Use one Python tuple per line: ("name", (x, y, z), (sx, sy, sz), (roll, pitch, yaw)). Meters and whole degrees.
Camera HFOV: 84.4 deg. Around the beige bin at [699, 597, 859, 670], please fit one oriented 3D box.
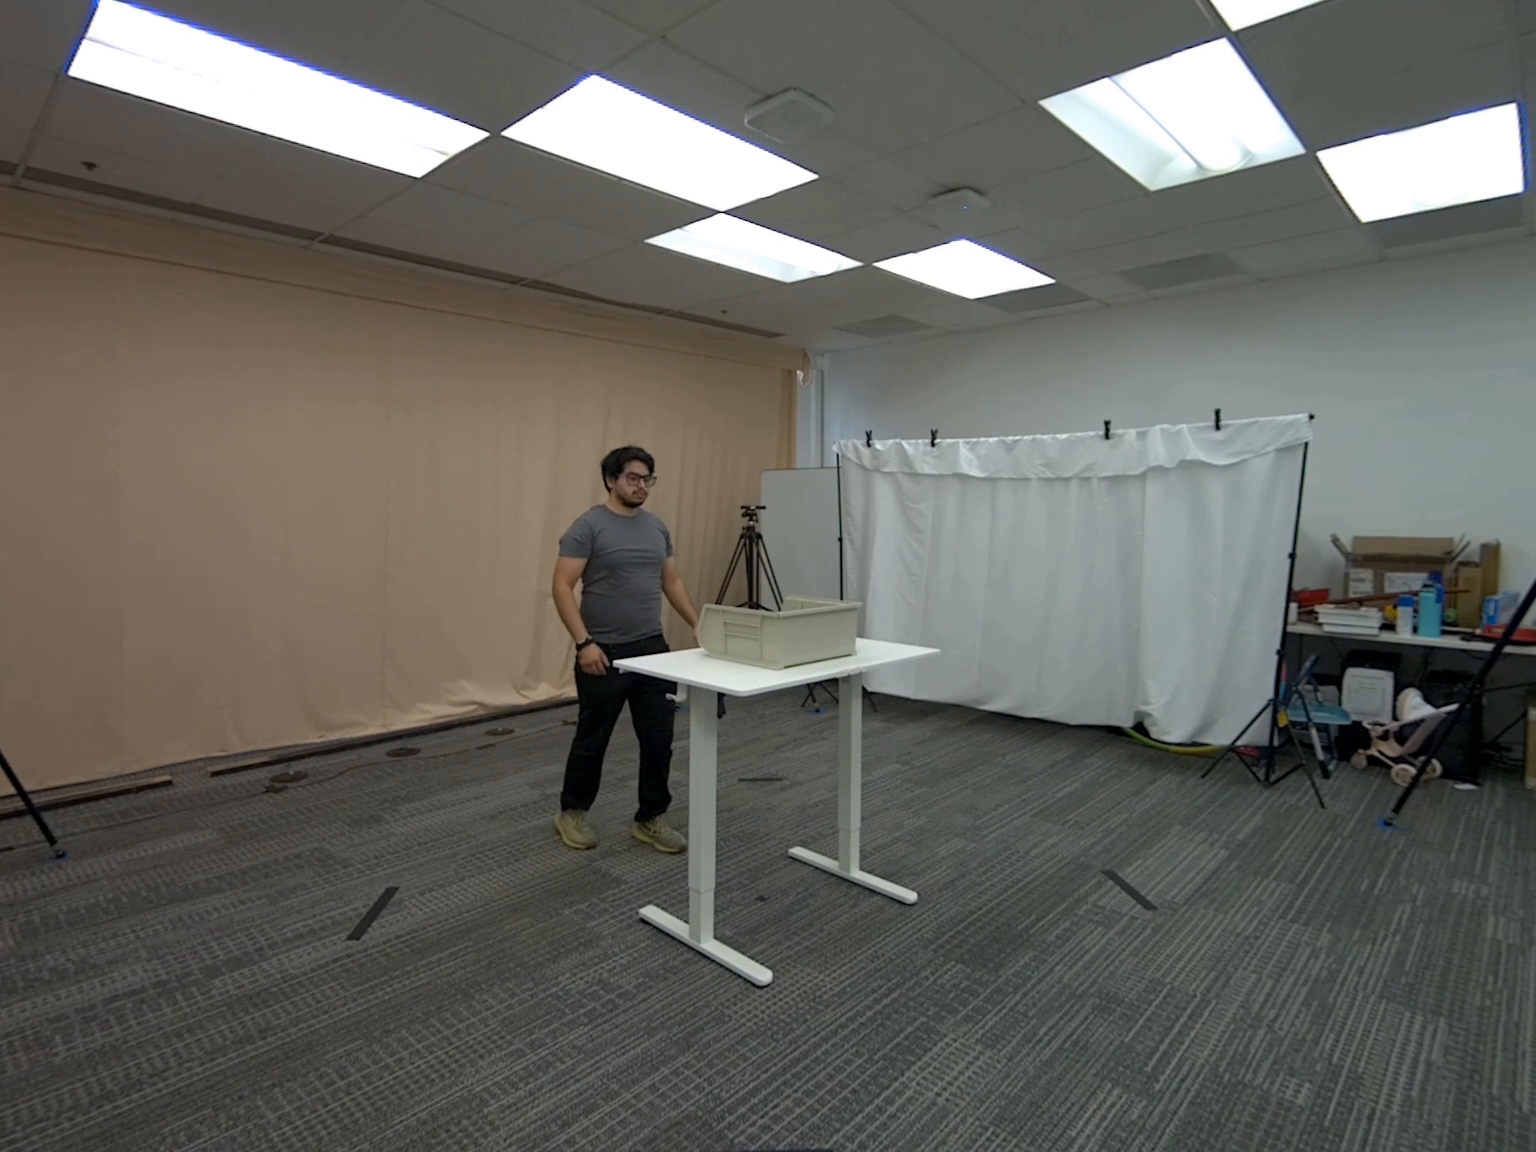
("beige bin", (0.041, 0.182, 2.855), (0.390, 0.188, 0.409), (6, 7, 44))
